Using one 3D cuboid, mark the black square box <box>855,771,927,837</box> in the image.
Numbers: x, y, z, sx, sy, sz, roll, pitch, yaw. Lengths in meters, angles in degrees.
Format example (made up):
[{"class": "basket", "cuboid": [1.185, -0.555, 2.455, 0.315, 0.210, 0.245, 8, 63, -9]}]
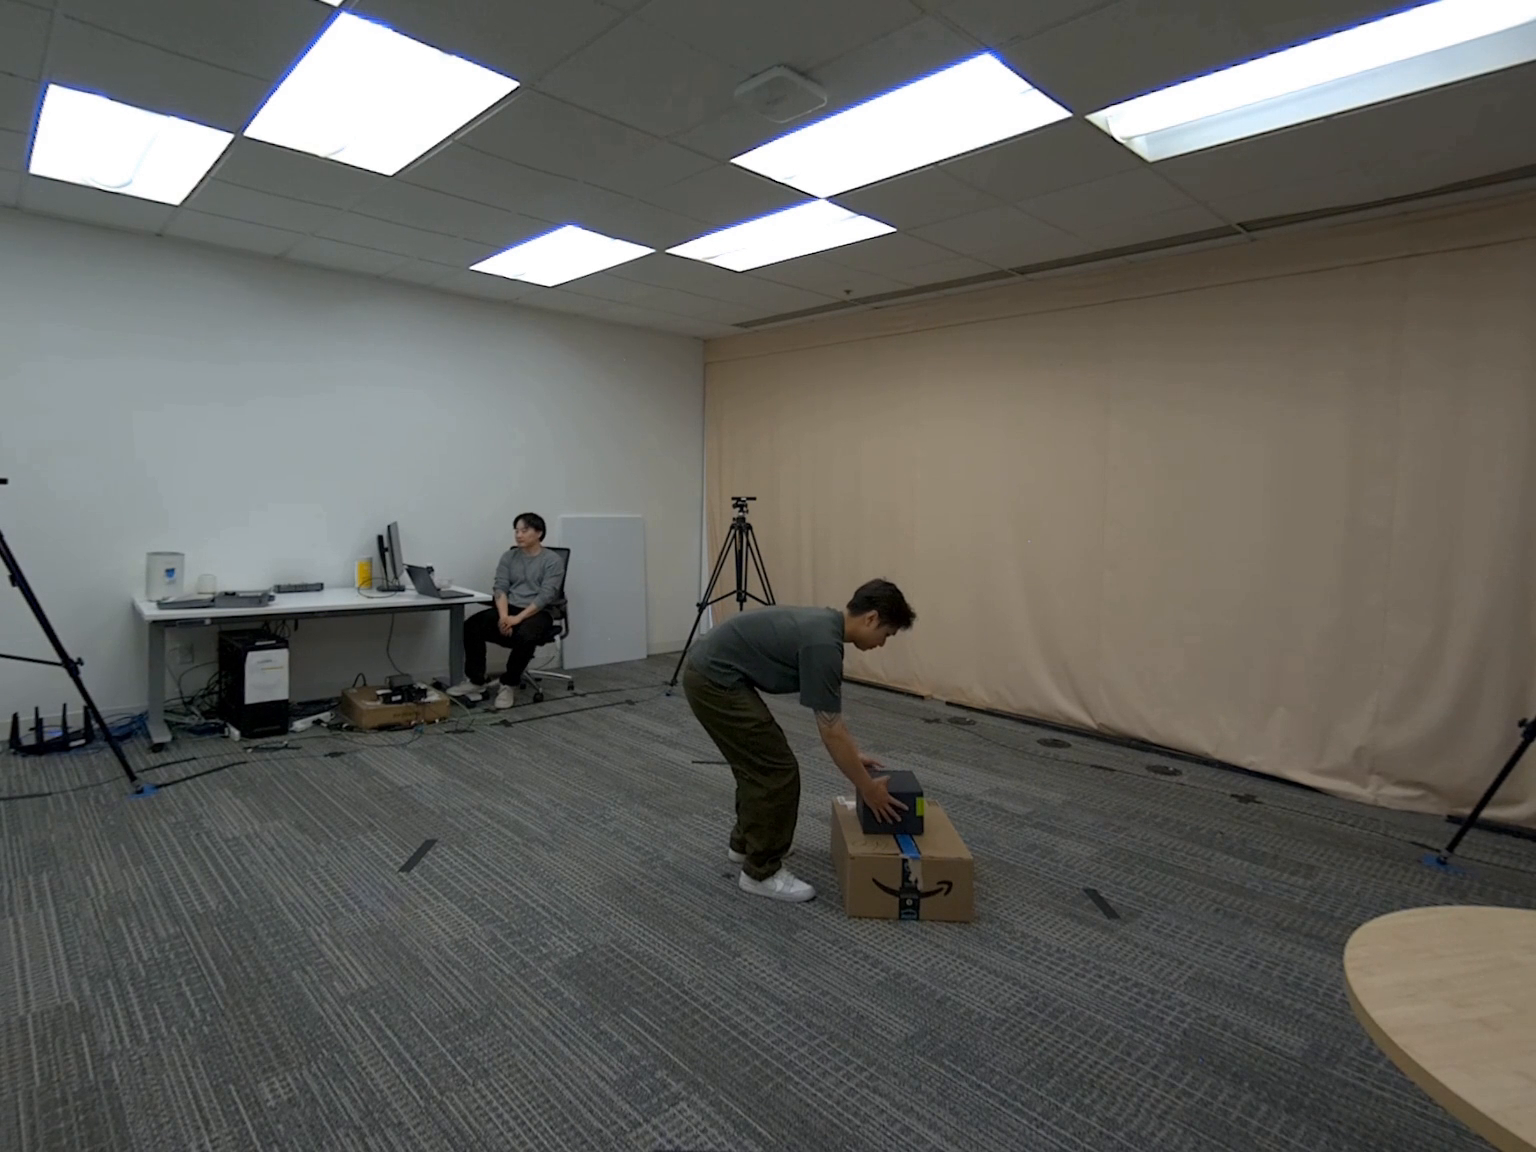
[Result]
[{"class": "black square box", "cuboid": [0.441, 0.822, 3.077, 0.217, 0.155, 0.228, 1, 4, 0]}]
